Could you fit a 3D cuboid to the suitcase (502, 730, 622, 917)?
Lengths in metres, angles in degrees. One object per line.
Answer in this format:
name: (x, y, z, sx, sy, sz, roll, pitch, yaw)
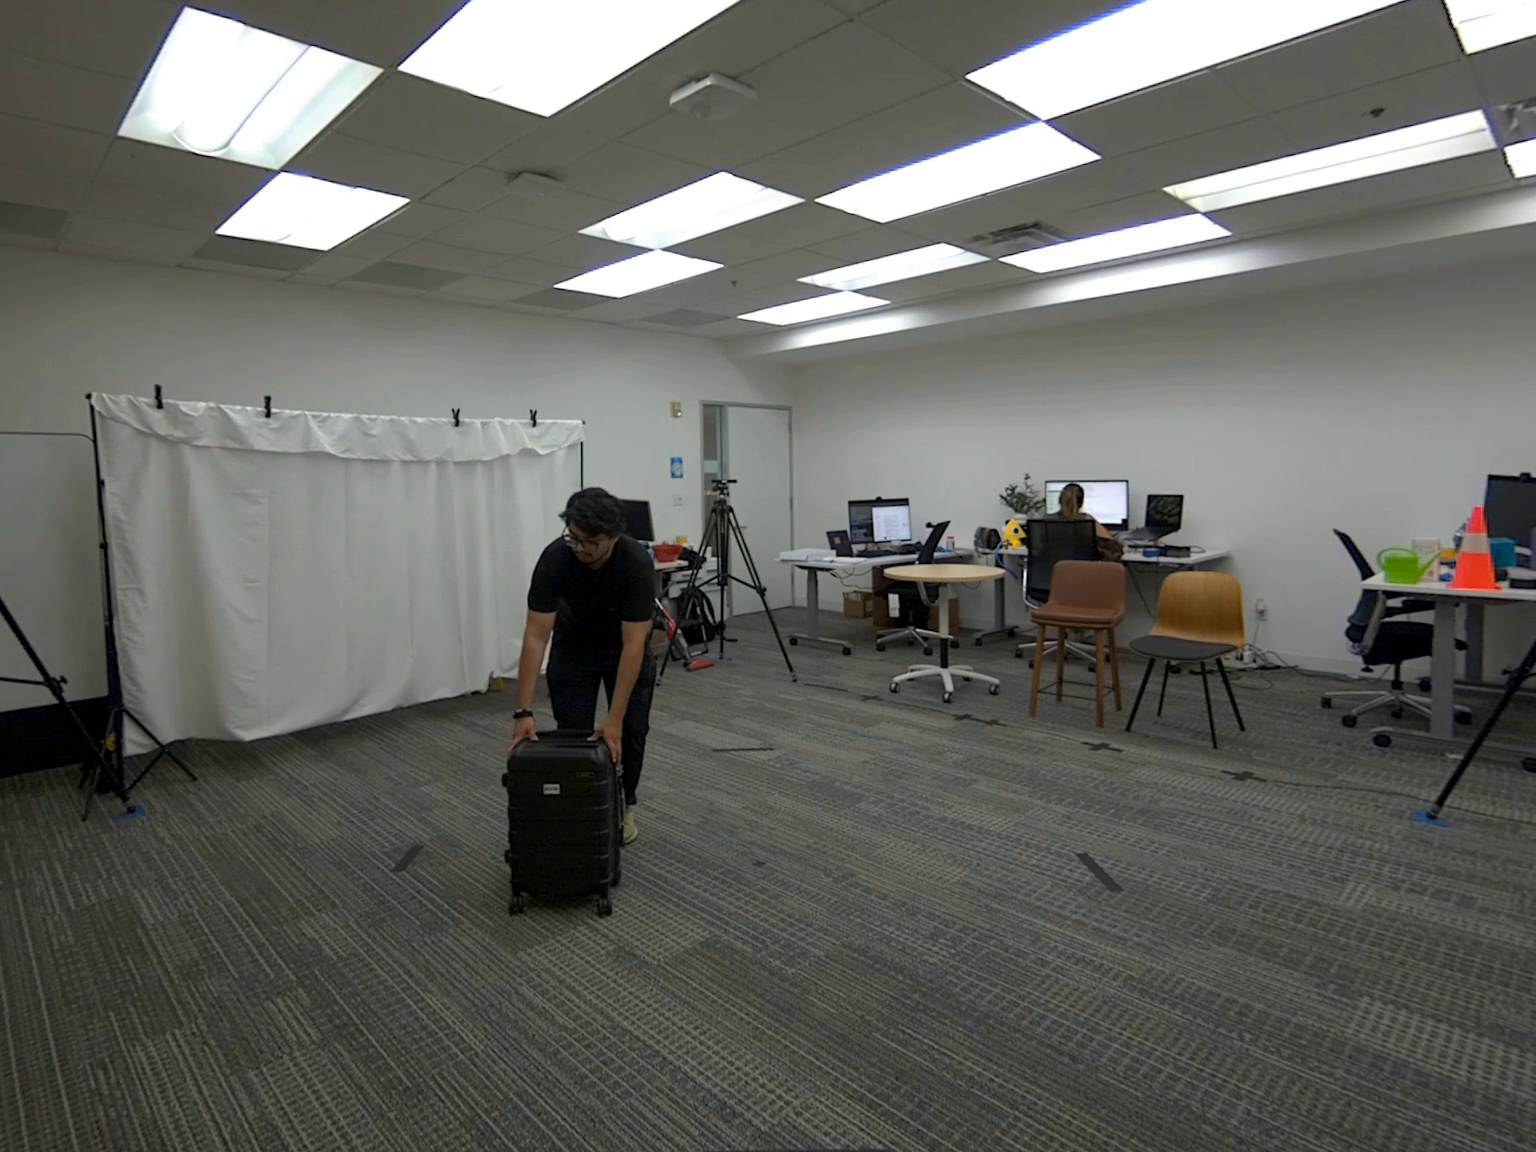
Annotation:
suitcase: (-0.692, 0.815, 2.900, 0.376, 0.548, 0.248, -2, 3, 2)
